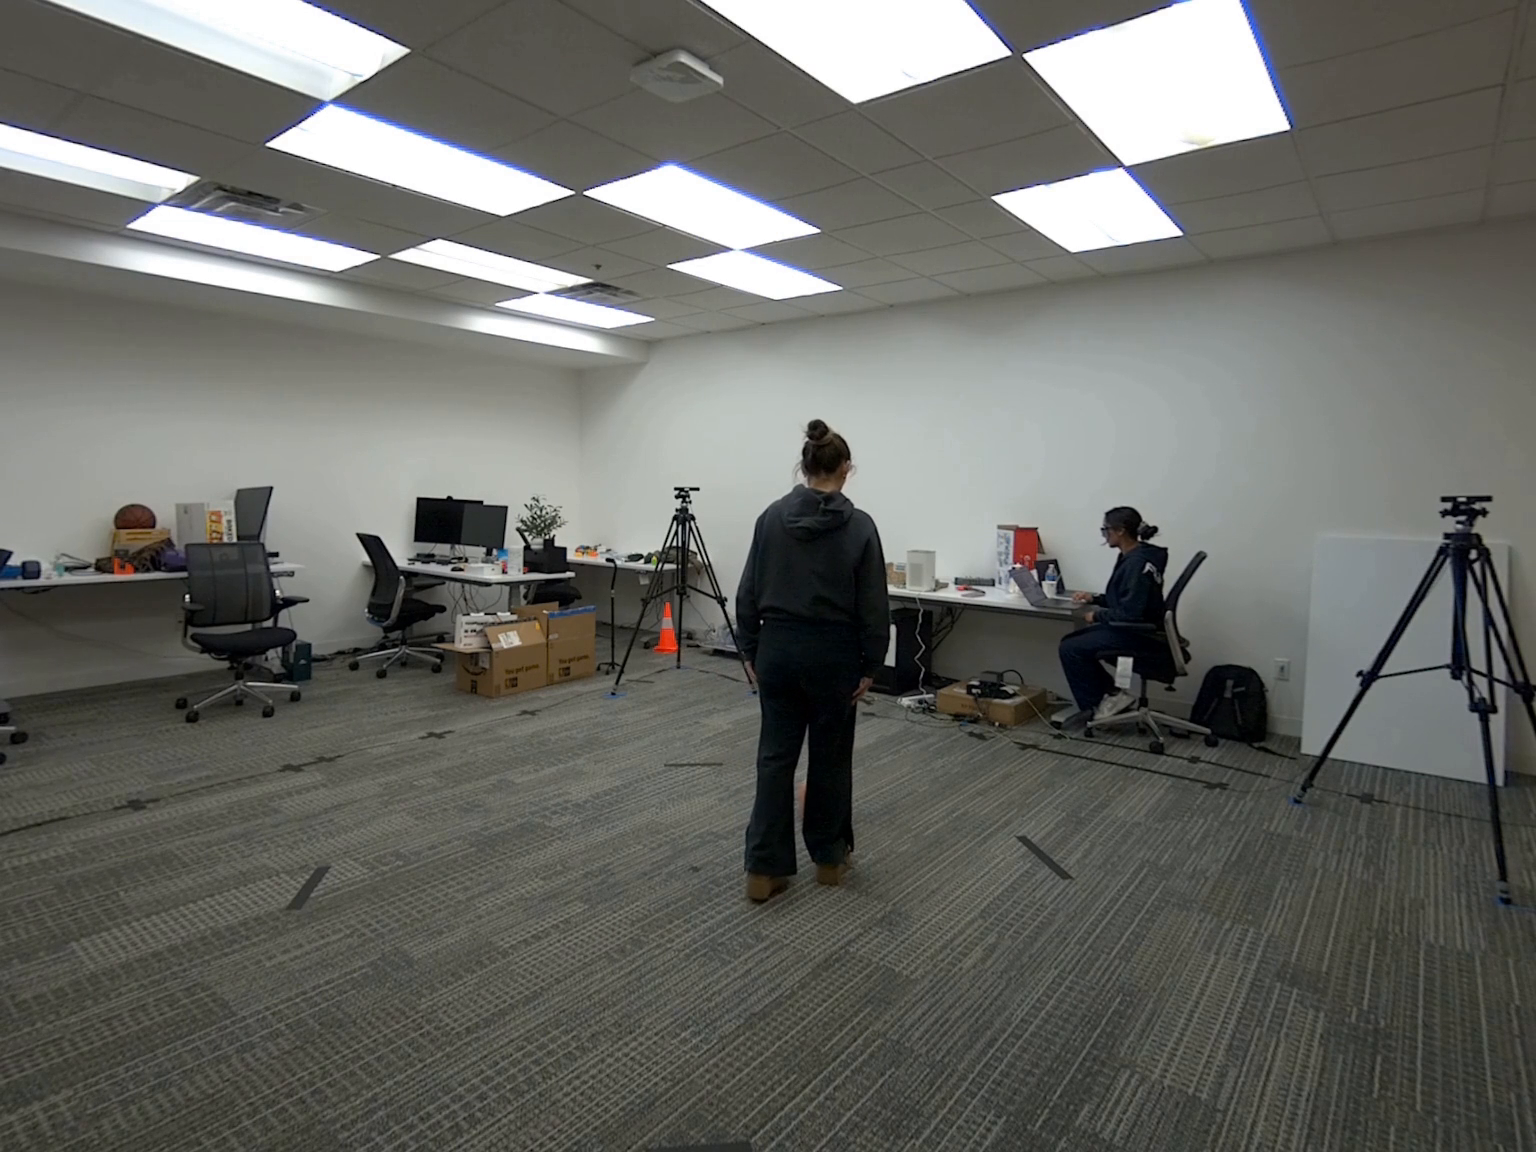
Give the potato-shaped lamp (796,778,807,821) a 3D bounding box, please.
[{"bbox_3d":[0.221,0.923,3.591,0.166,0.197,0.170,-3,7,-44],"label":"potato-shaped lamp"}]
